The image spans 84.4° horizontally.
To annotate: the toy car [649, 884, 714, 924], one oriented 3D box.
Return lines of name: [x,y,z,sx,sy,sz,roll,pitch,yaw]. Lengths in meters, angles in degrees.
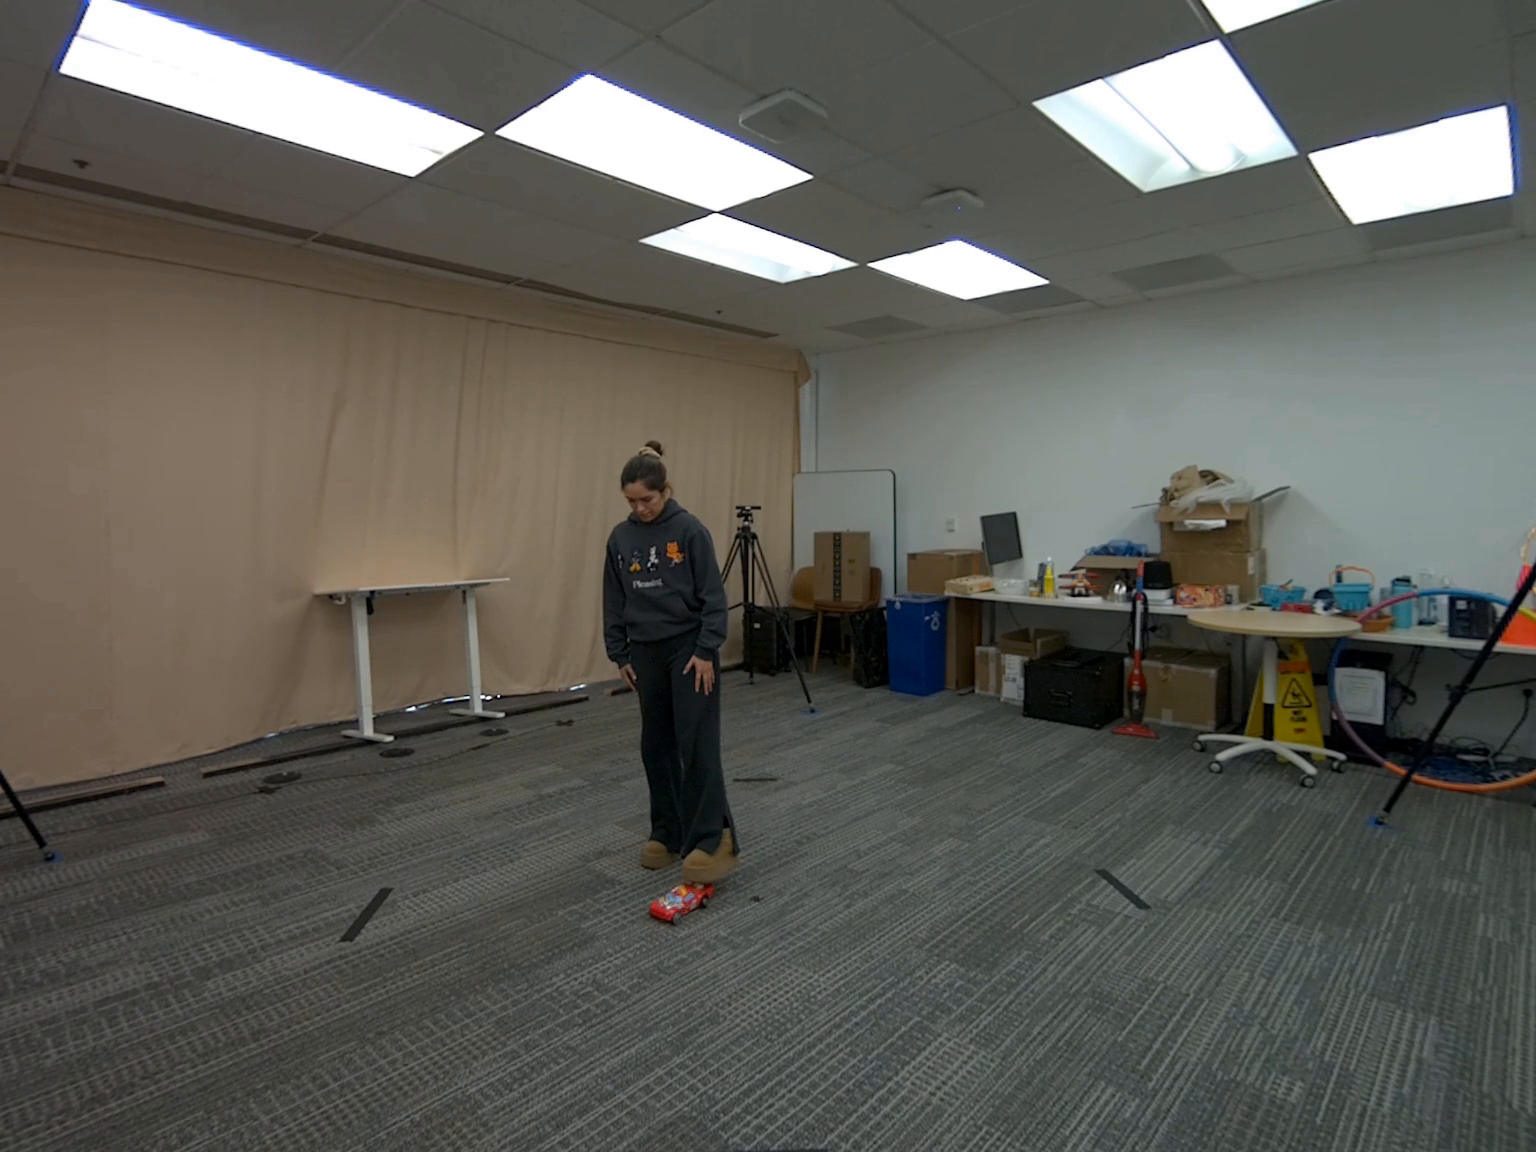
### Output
toy car: [-0.278,1.123,2.908,0.134,0.082,0.248,3,15,39]
